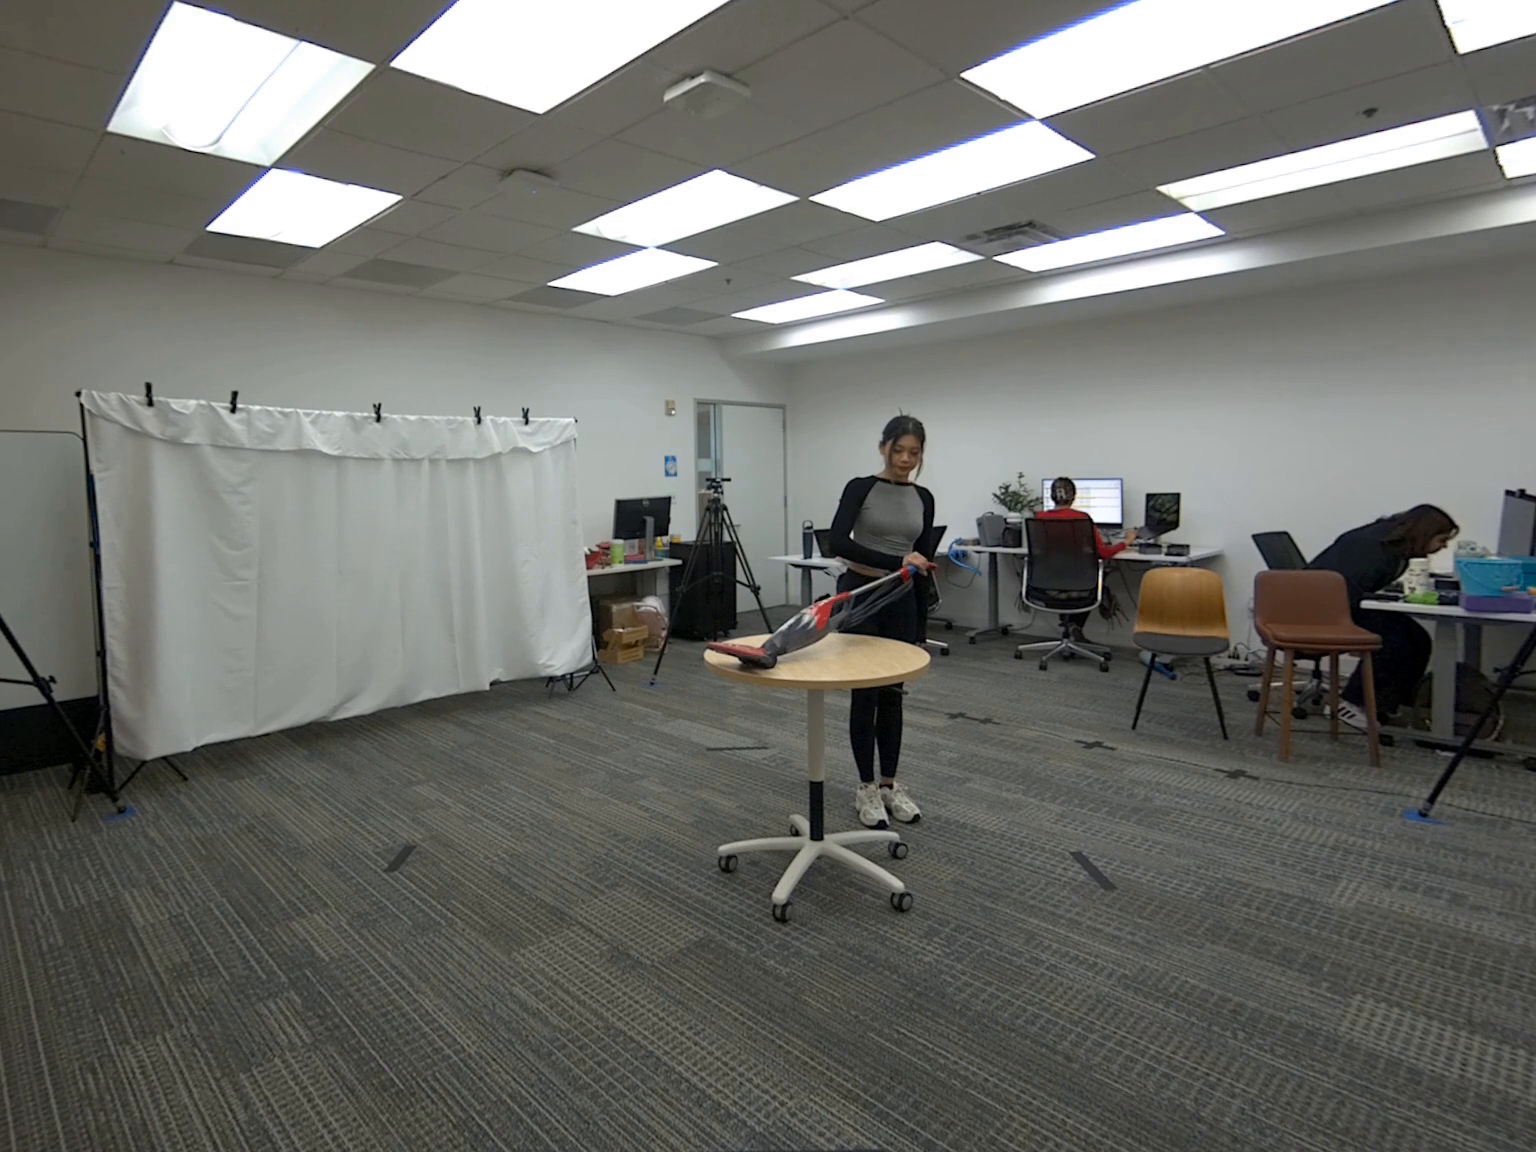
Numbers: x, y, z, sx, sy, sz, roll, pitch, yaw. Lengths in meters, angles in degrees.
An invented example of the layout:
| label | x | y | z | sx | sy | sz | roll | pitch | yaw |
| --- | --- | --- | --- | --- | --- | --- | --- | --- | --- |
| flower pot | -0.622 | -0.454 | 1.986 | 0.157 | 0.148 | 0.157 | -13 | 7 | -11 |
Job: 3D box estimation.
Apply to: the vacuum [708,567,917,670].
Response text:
| label | x | y | z | sx | sy | sz | roll | pitch | yaw |
| --- | --- | --- | --- | --- | --- | --- | --- | --- | --- |
| vacuum | 0.293 | 0.136 | 3.034 | 1.030 | 0.142 | 0.260 | -21 | 17 | -41 |
